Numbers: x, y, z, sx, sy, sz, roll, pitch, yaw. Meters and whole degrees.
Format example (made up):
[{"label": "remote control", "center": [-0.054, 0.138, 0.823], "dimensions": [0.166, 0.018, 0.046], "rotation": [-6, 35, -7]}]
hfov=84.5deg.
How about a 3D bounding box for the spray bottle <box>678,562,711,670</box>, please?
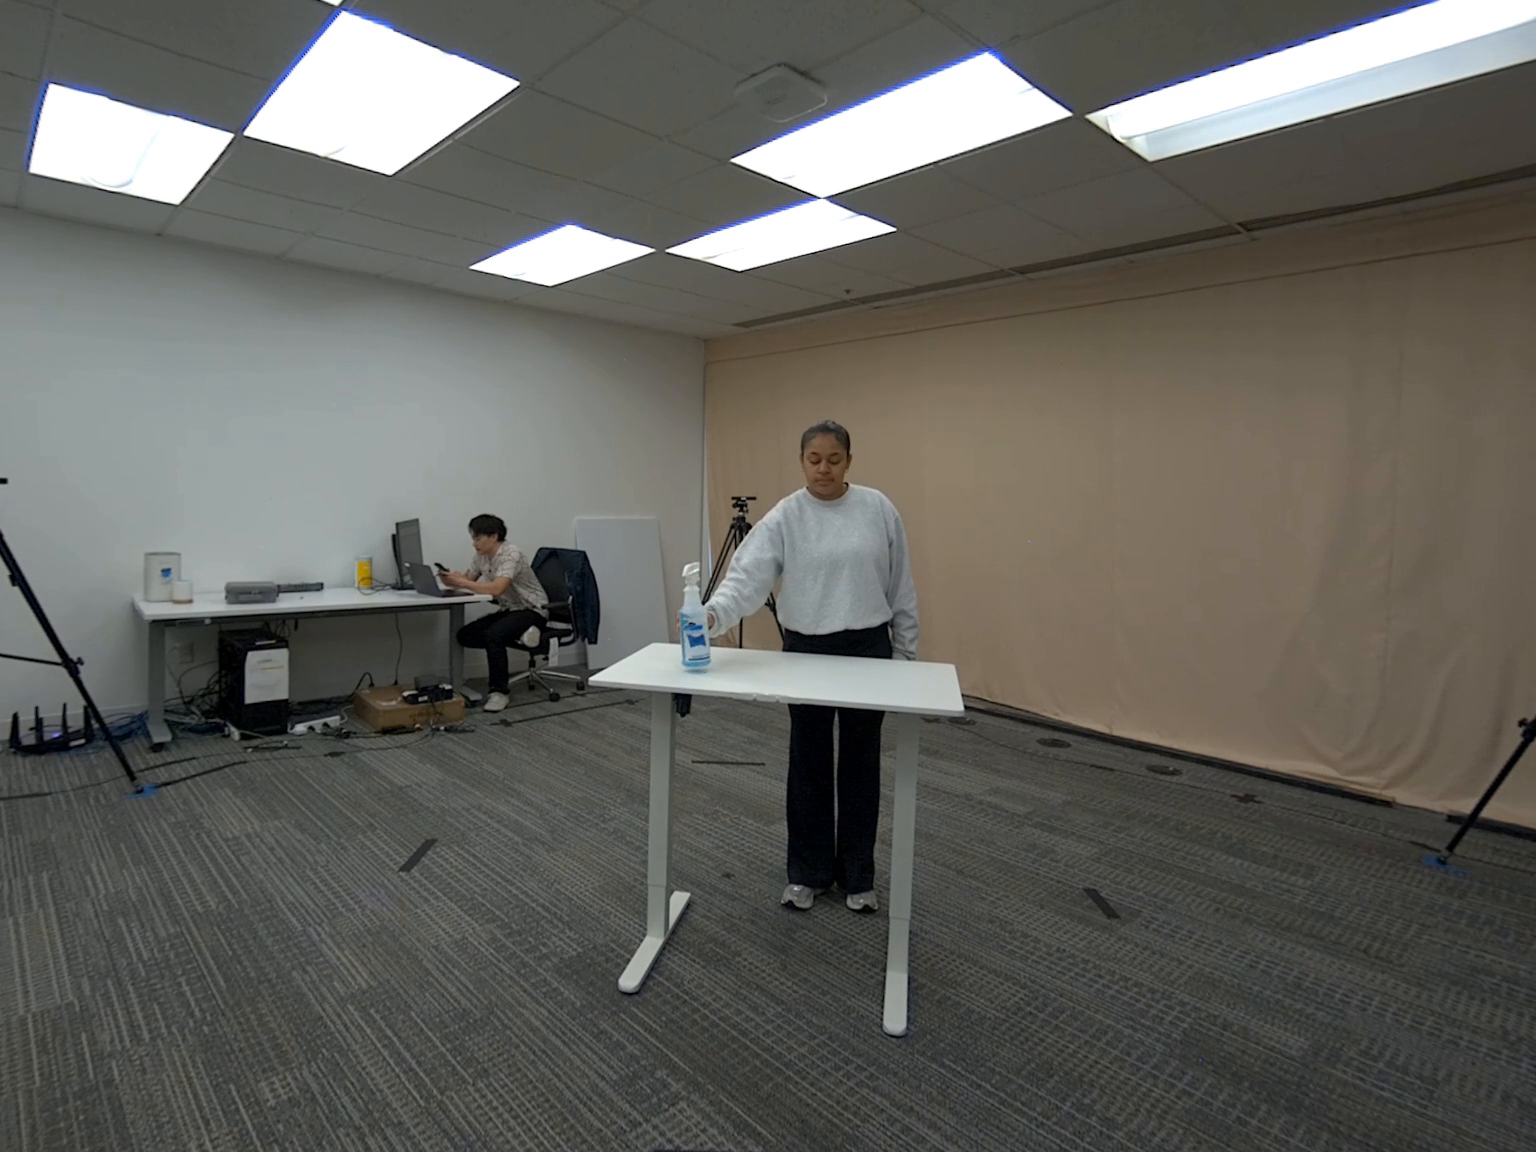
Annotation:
[{"label": "spray bottle", "center": [-0.208, 0.106, 2.444], "dimensions": [0.088, 0.296, 0.089], "rotation": [-6, 6, -42]}]
